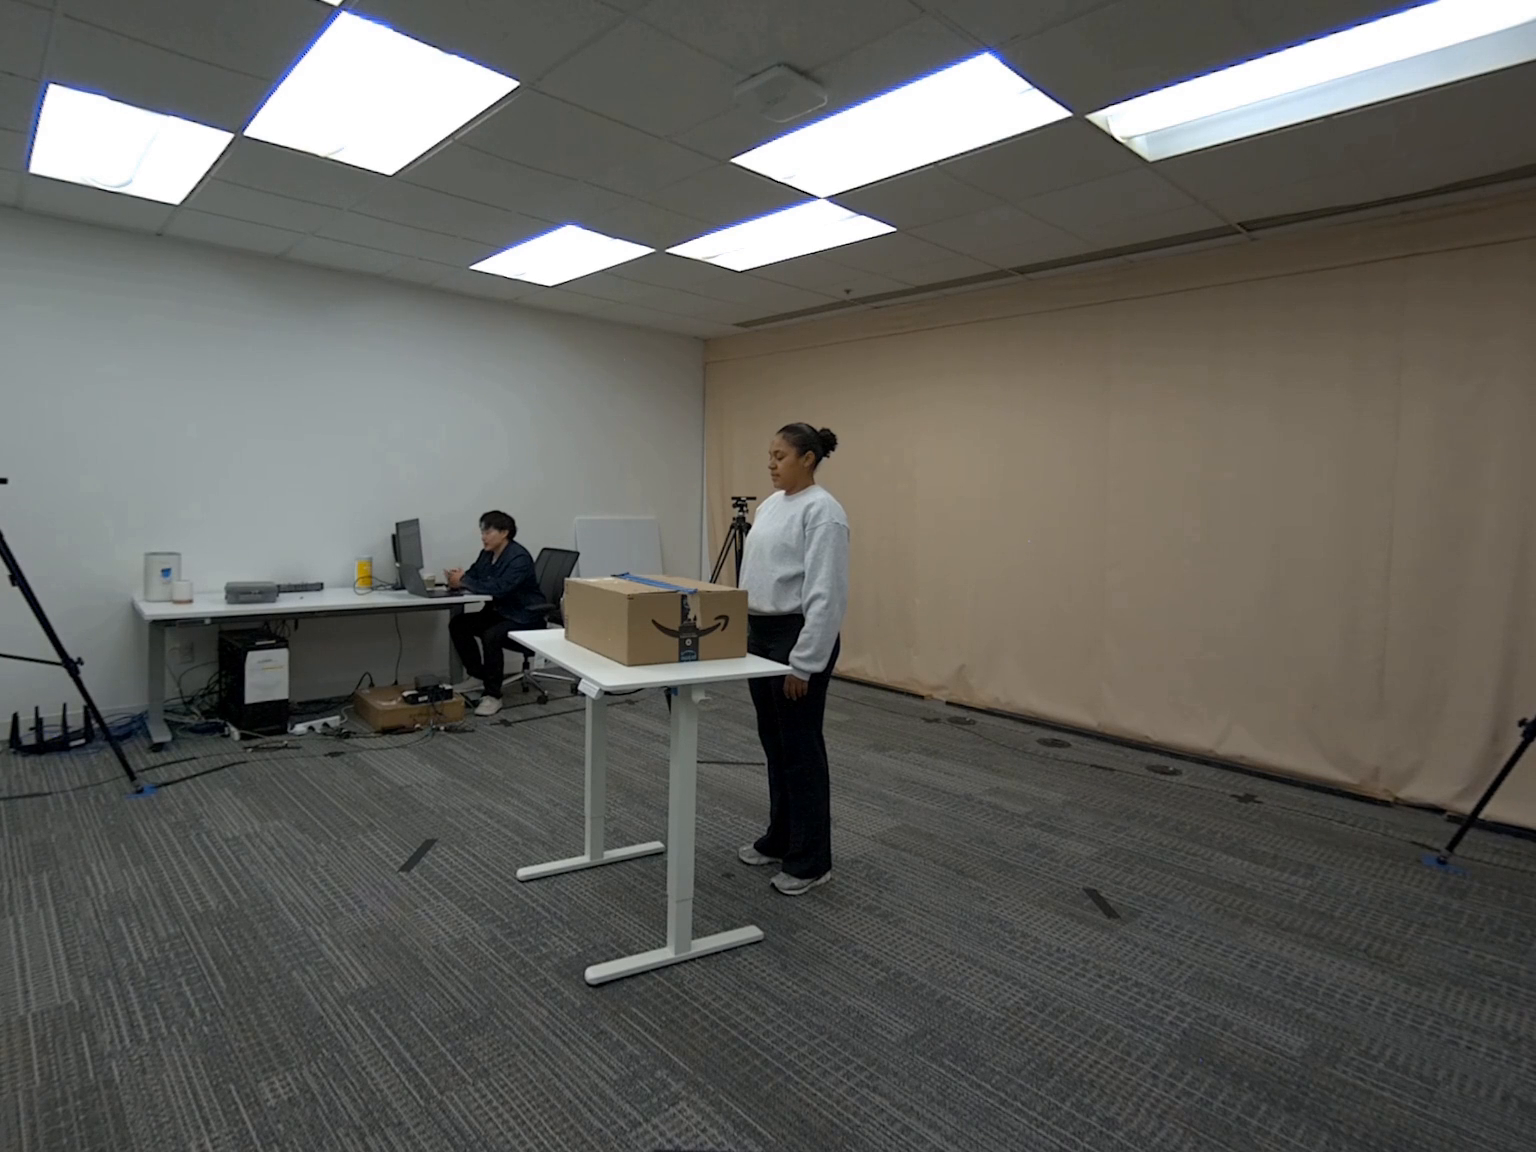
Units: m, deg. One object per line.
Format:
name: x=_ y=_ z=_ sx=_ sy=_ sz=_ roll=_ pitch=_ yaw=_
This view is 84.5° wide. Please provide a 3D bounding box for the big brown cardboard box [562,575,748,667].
big brown cardboard box: x=-0.402 y=0.133 z=2.829 sx=0.409 sy=0.232 sz=0.603 roll=-1 pitch=6 yaw=-31
